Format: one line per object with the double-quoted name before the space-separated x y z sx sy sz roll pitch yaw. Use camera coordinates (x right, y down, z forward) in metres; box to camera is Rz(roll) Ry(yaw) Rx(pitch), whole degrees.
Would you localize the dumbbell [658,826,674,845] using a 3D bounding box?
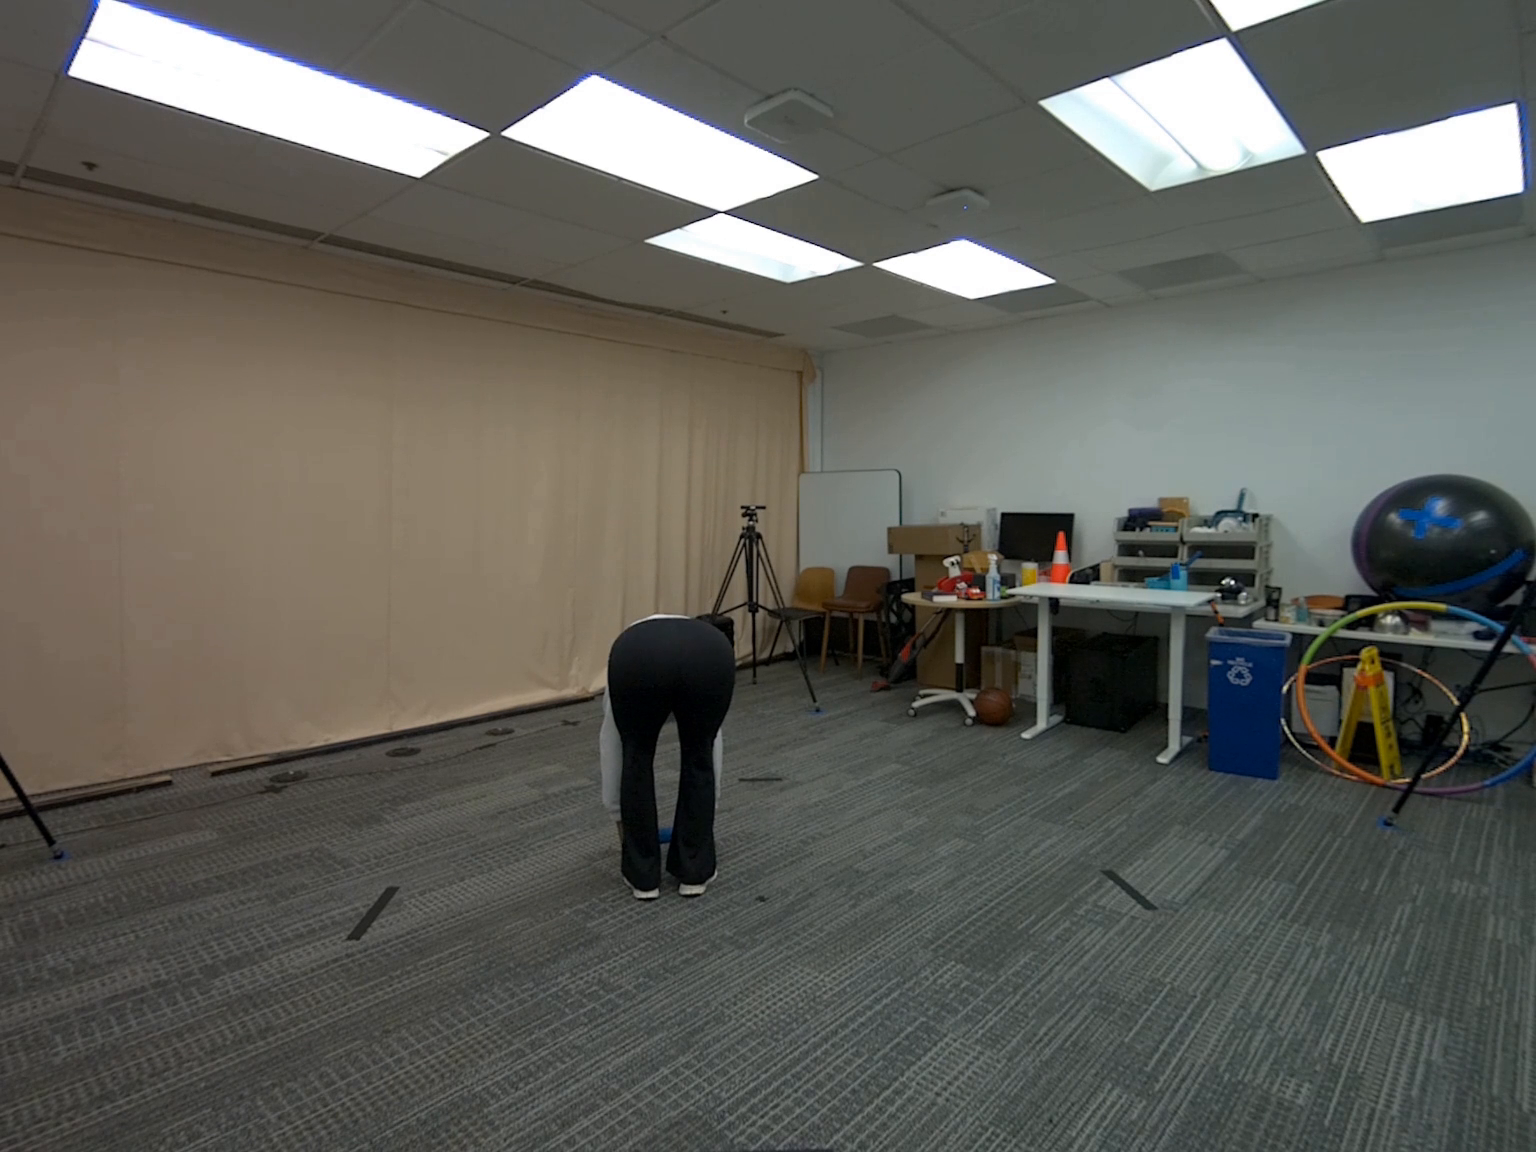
"dumbbell" -0.425 1.036 3.338 0.289 0.121 0.112 -2 35 -16
